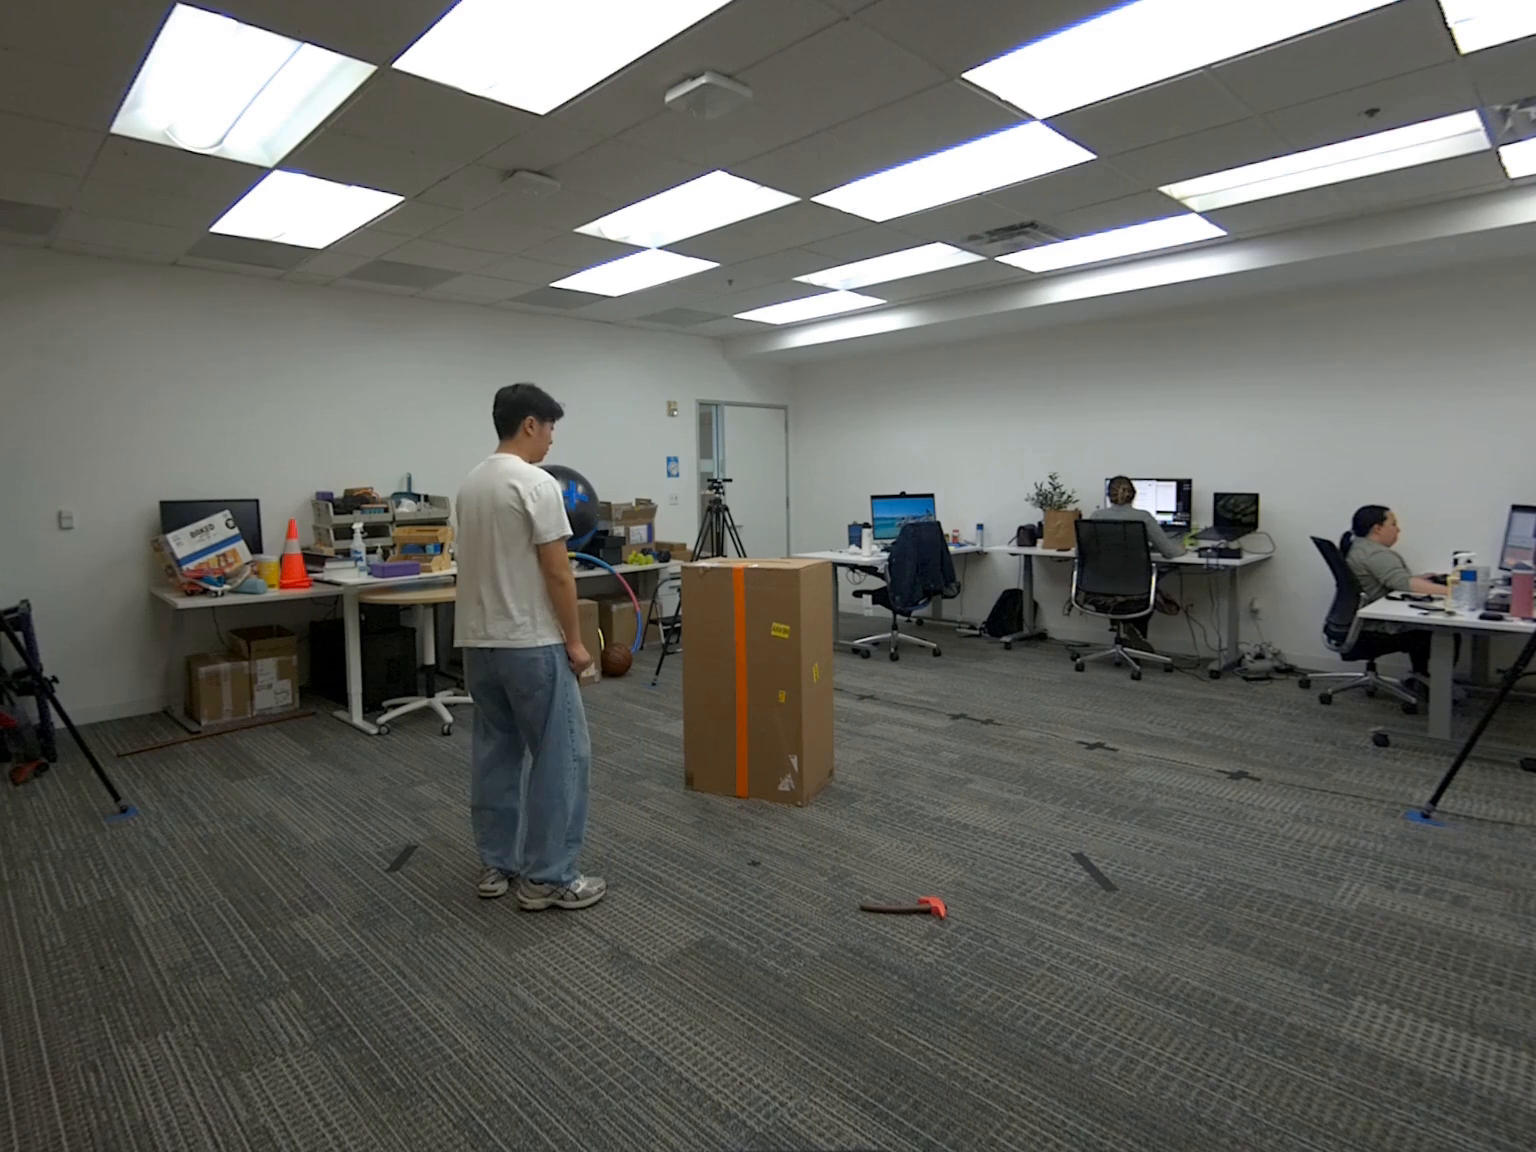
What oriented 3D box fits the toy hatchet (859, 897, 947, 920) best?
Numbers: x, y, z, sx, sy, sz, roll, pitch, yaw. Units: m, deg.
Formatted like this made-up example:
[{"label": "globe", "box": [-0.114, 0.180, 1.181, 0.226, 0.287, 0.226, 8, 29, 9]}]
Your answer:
[{"label": "toy hatchet", "box": [0.436, 1.058, 2.767, 0.274, 0.029, 0.129, -1, 6, 17]}]
